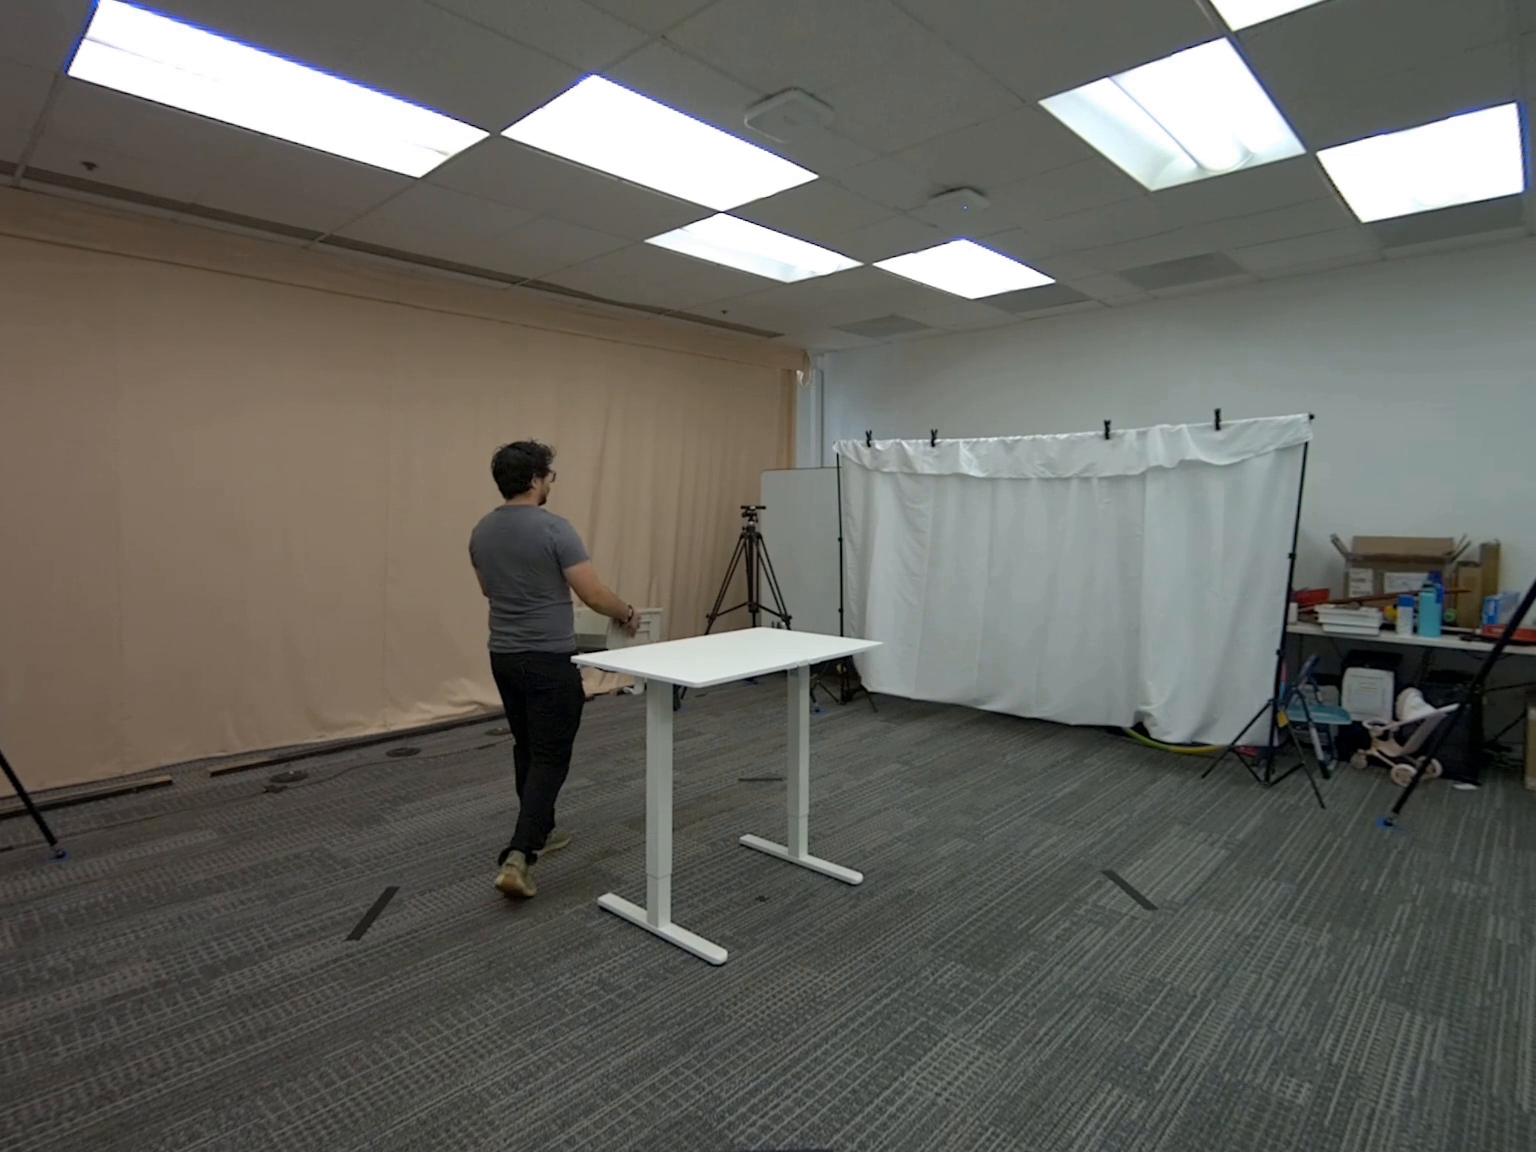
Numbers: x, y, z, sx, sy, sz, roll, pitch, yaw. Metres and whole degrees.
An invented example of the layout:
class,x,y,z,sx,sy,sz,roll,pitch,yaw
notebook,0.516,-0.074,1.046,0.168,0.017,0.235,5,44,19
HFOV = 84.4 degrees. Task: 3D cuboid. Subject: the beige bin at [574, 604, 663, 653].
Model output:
class,x,y,z,sx,sy,sz,roll,pitch,yaw
beige bin,-0.722,0.226,3.564,0.435,0.189,0.366,-1,0,32
